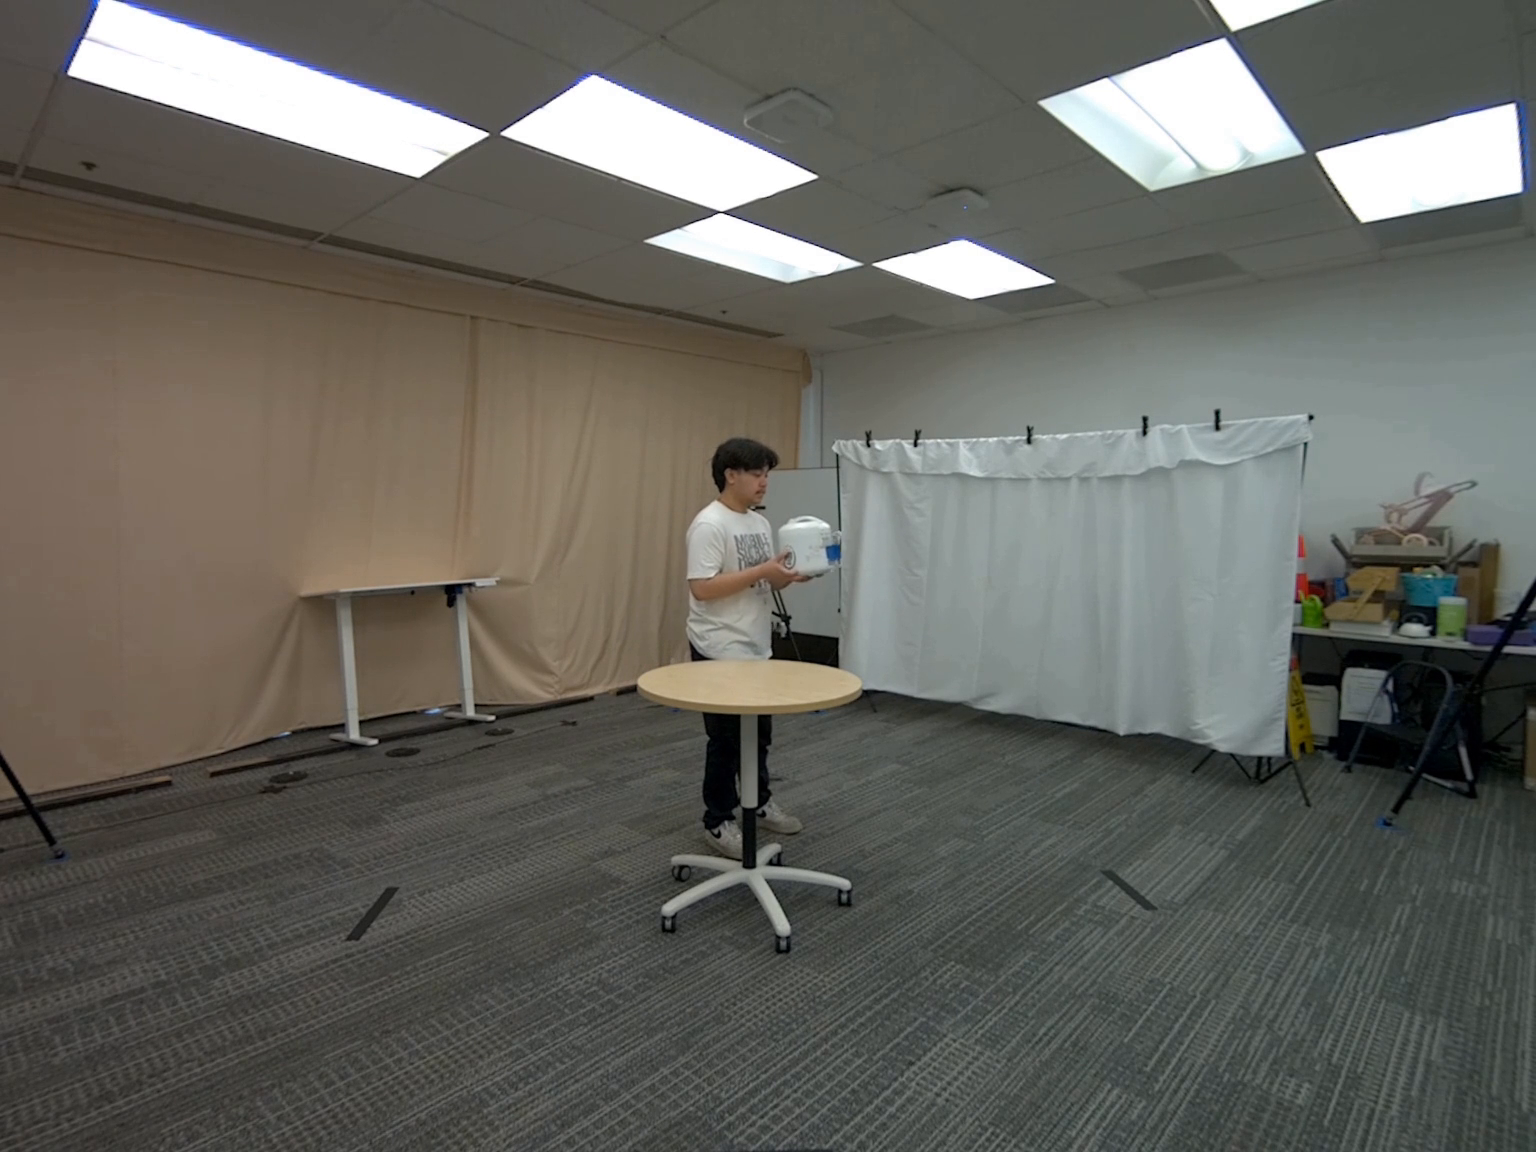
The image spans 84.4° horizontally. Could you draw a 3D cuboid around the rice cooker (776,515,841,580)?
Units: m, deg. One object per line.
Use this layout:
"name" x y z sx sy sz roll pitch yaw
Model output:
"rice cooker" 0.150 -0.121 3.309 0.227 0.233 0.211 -5 1 44
